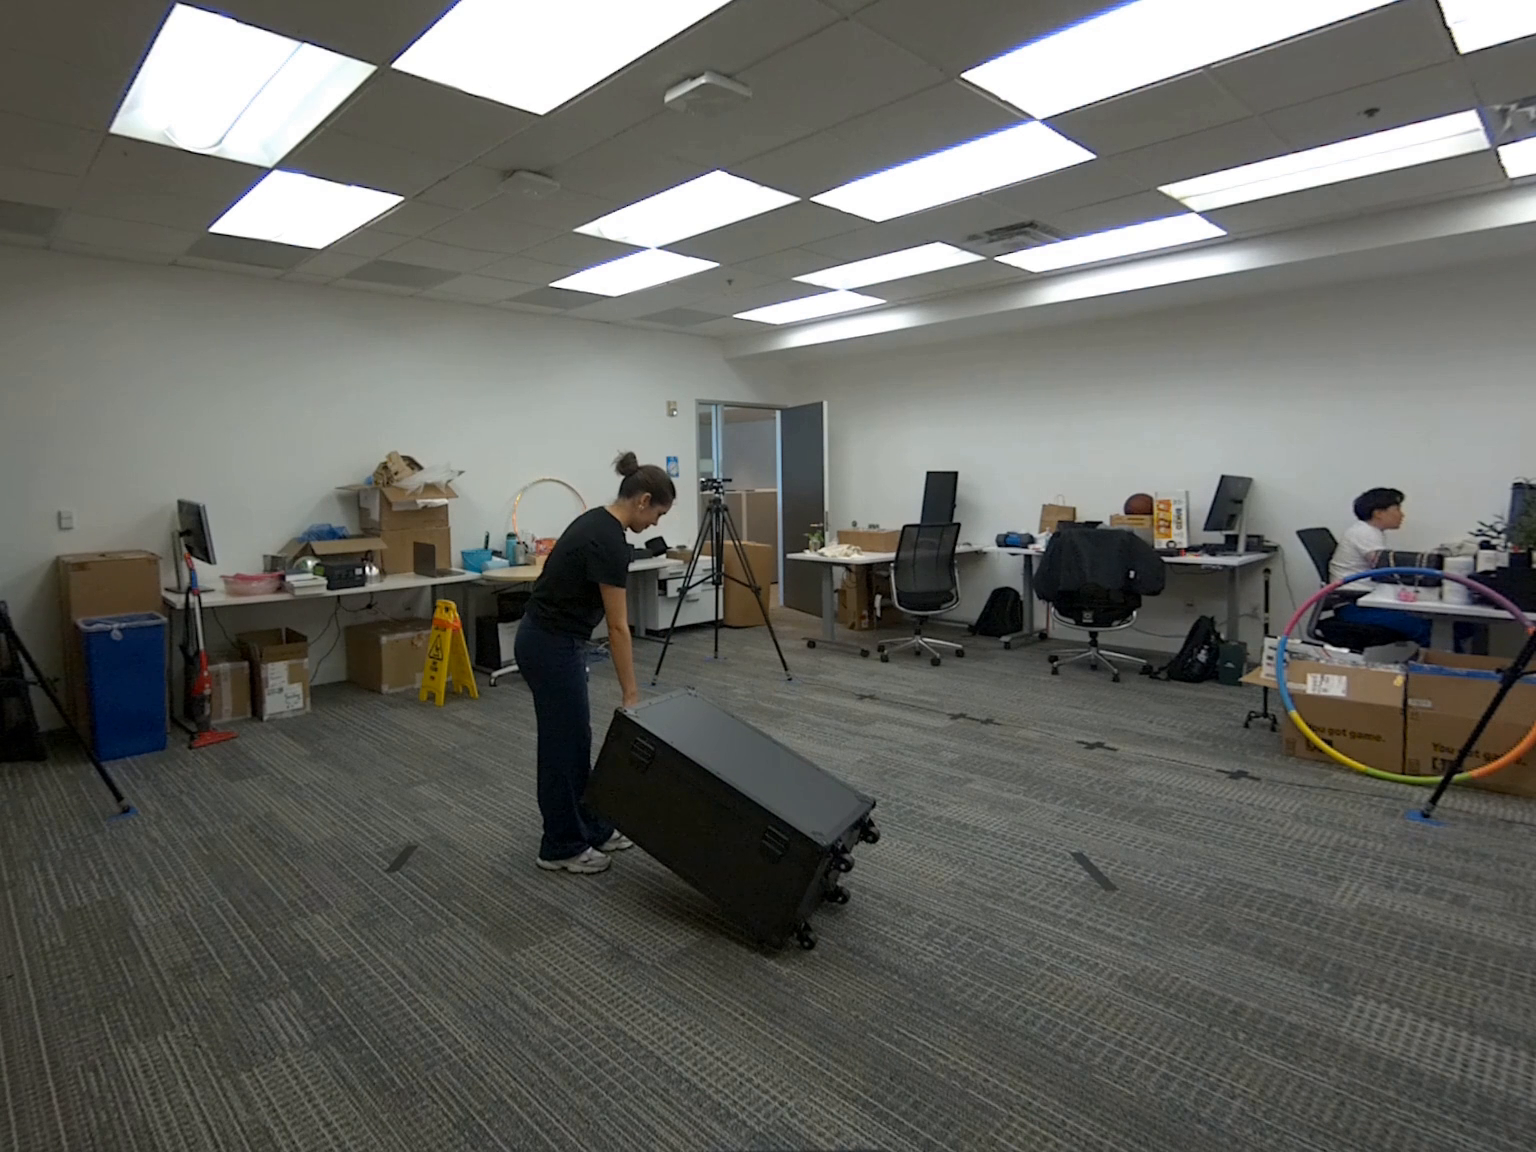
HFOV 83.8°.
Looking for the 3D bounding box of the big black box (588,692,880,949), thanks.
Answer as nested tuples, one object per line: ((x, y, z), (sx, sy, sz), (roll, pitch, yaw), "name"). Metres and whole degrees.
((-0.107, 0.768, 2.802), (0.886, 0.394, 0.510), (28, 13, 23), "big black box")
